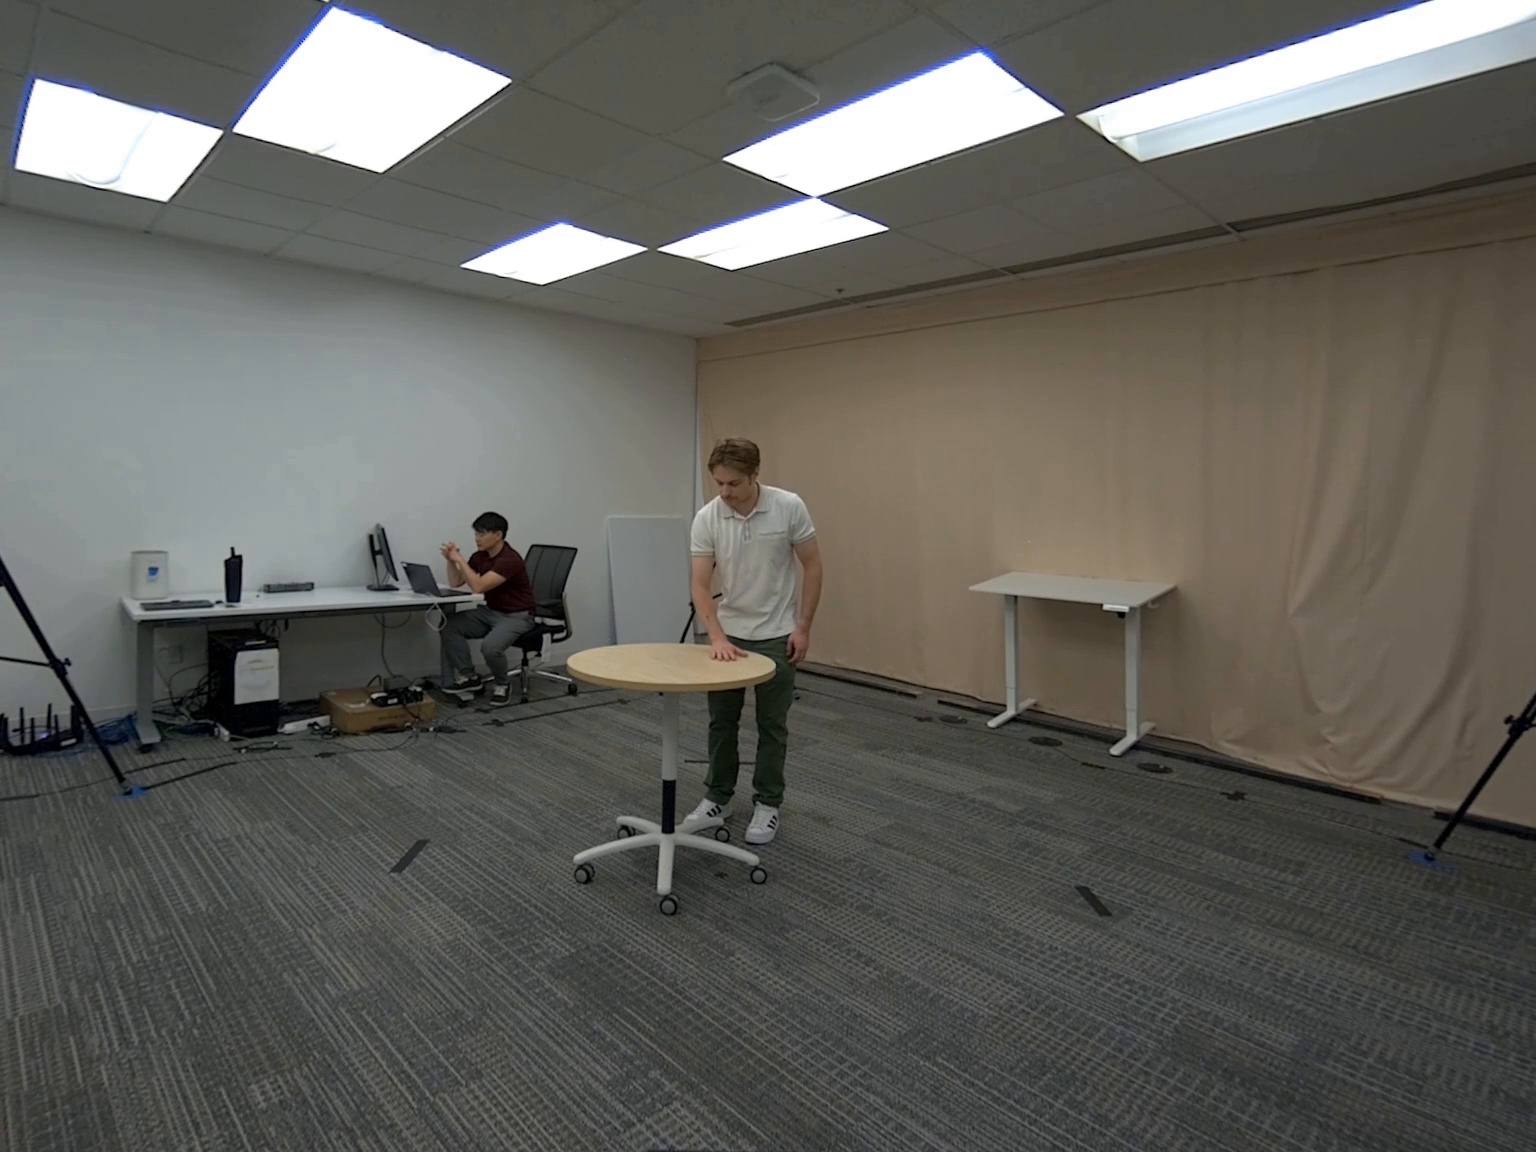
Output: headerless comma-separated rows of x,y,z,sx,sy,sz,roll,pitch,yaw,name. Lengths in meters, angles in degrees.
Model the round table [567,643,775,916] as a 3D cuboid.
-0.387,0.704,3.120,0.784,0.785,0.787,2,4,-1,round table
